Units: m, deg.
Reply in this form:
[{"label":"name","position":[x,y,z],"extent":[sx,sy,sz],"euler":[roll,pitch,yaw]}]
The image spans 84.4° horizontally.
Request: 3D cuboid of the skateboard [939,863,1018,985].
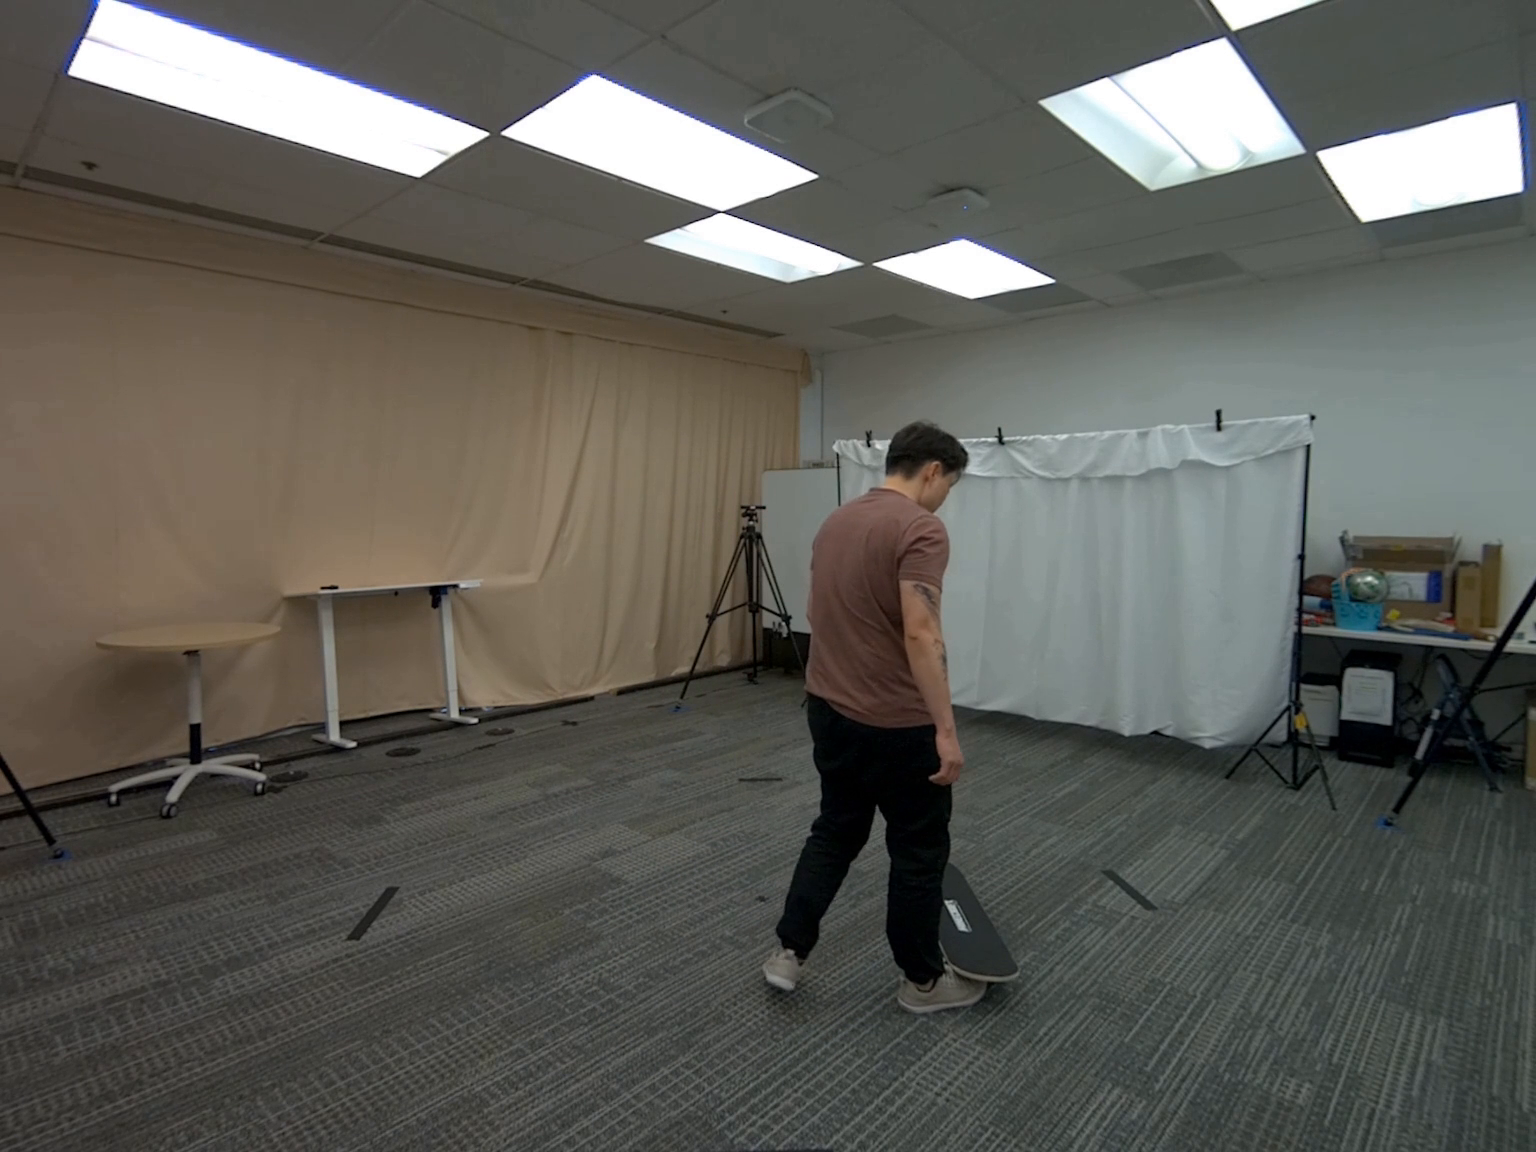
[{"label":"skateboard","position":[0.611,1.109,2.676],"extent":[0.193,0.110,0.787],"euler":[-1,5,-2]}]
